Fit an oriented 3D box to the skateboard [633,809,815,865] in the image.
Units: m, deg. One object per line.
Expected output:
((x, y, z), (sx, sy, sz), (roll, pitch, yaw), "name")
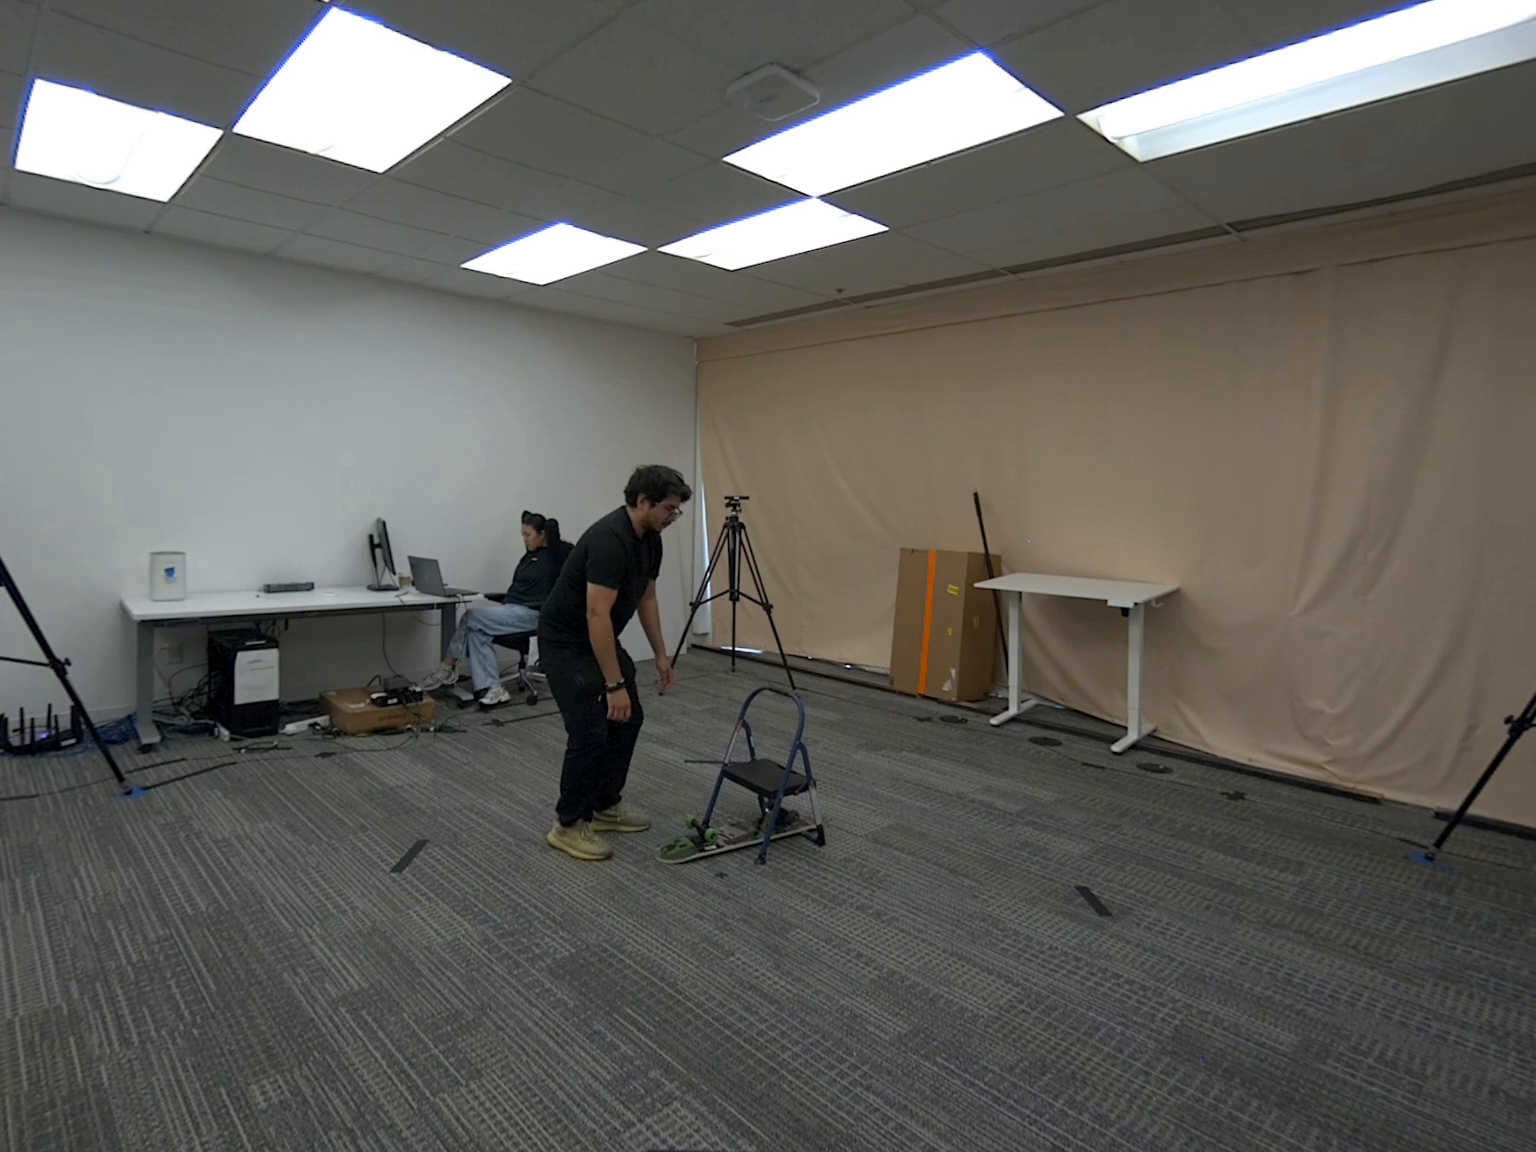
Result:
((-0.120, 1.026, 3.442), (0.769, 0.110, 0.198), (-3, 7, -35), "skateboard")
